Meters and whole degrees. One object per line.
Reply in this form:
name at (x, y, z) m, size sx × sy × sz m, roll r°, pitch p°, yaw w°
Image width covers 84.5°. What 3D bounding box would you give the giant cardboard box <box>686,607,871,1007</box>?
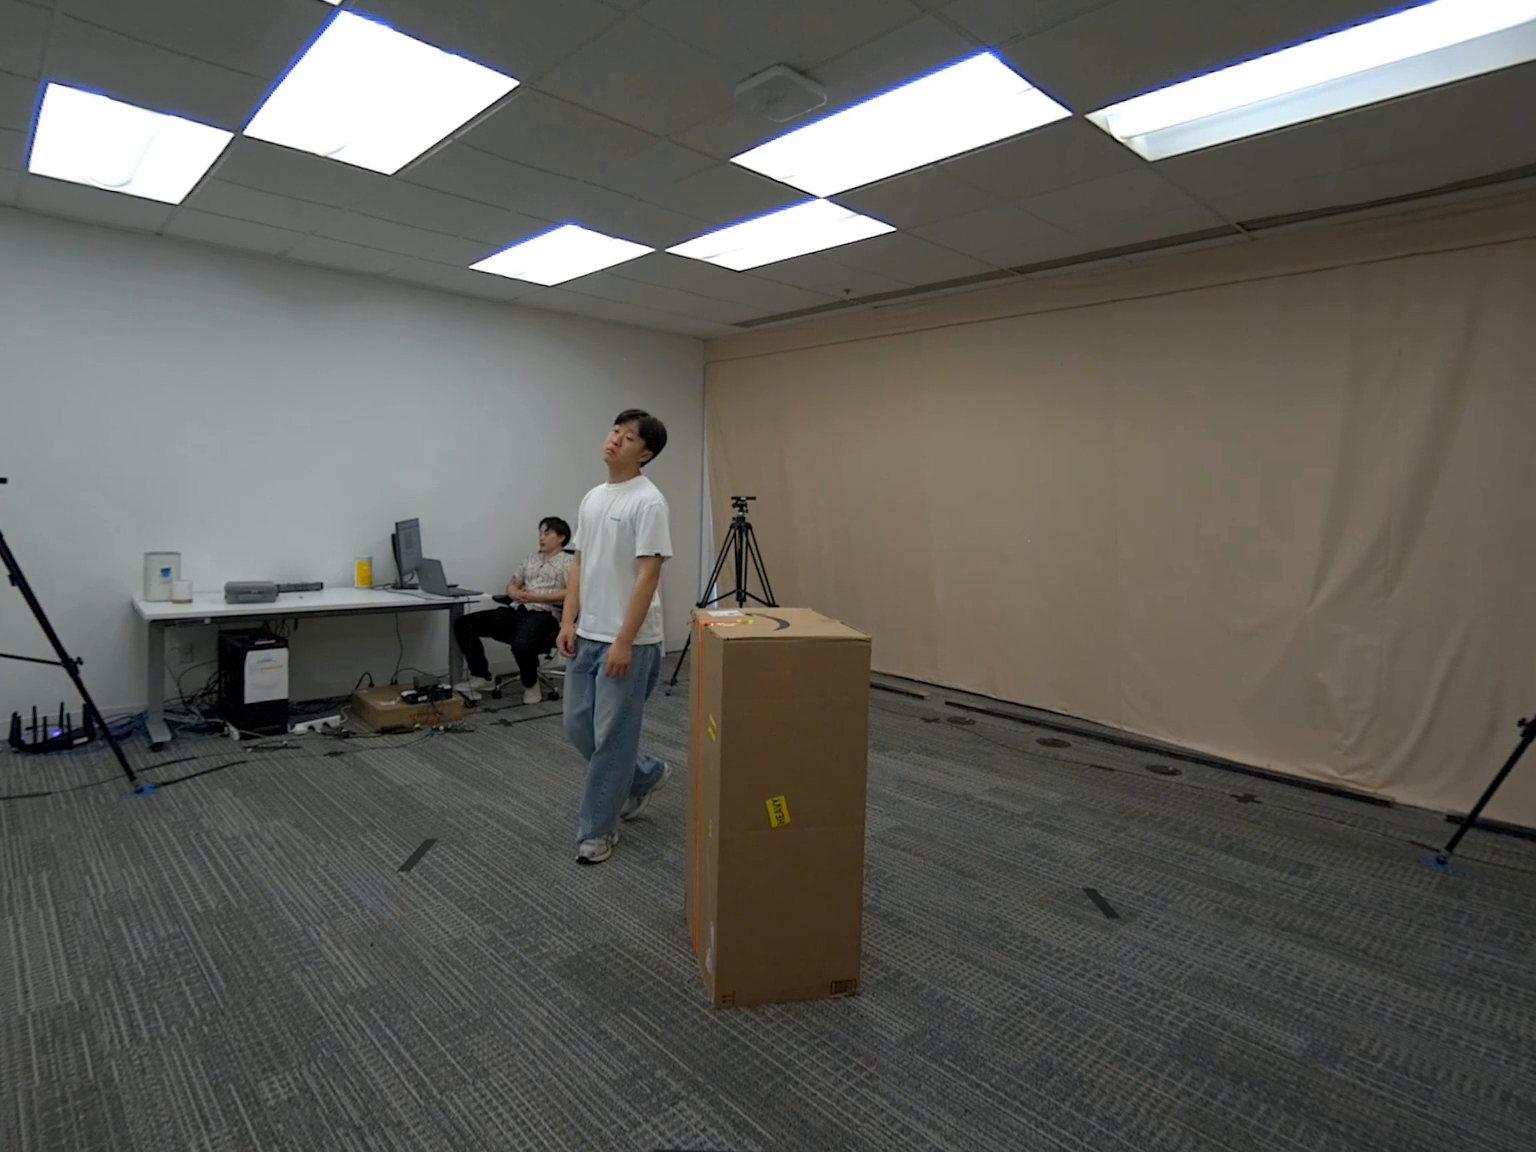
giant cardboard box at (-0.002, 0.648, 2.577) m, size 0.421 × 1.023 × 0.585 m, roll 1°, pitch 4°, yaw -14°
